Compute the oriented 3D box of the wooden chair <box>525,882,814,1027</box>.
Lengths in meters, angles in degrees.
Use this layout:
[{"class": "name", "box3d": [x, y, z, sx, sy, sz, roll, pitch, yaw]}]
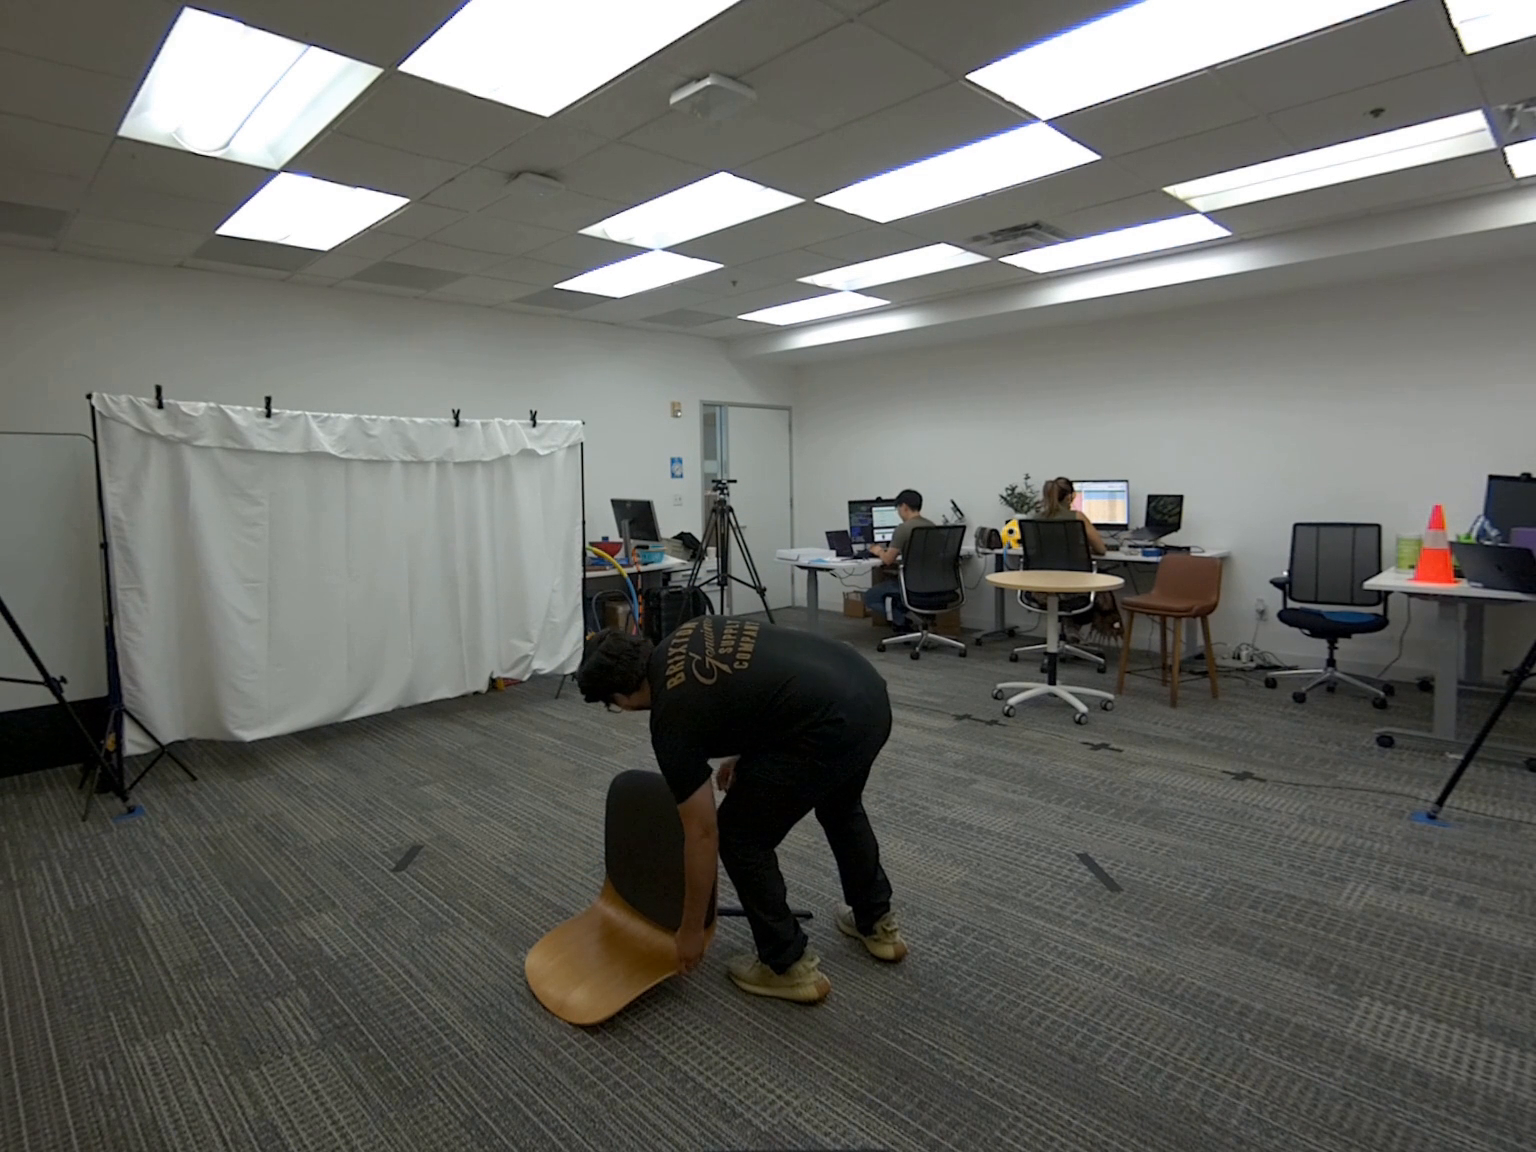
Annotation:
[{"class": "wooden chair", "box3d": [-0.299, 0.860, 2.560, 0.493, 0.520, 0.856, 4, 10, 41]}]
